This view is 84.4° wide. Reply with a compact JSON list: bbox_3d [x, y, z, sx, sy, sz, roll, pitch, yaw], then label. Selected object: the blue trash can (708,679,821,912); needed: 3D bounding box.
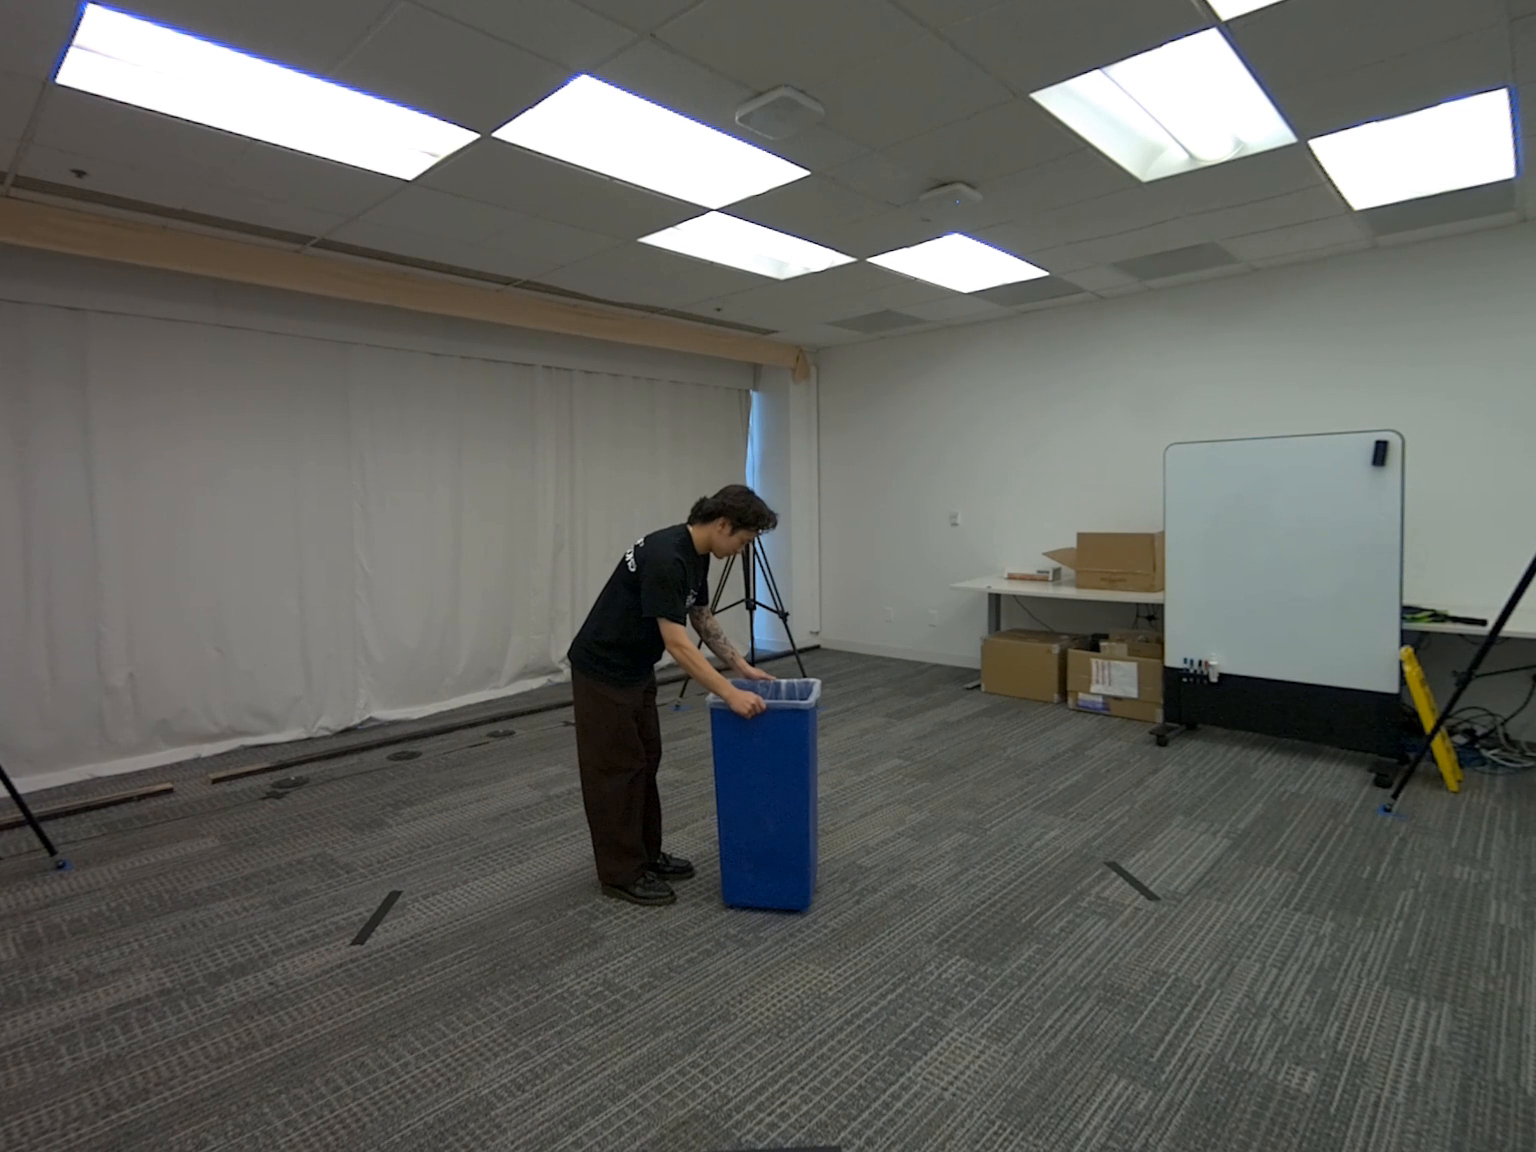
[{"bbox_3d":[0.006,0.753,2.972,0.382,0.712,0.370,-2,2,10],"label":"blue trash can"}]
